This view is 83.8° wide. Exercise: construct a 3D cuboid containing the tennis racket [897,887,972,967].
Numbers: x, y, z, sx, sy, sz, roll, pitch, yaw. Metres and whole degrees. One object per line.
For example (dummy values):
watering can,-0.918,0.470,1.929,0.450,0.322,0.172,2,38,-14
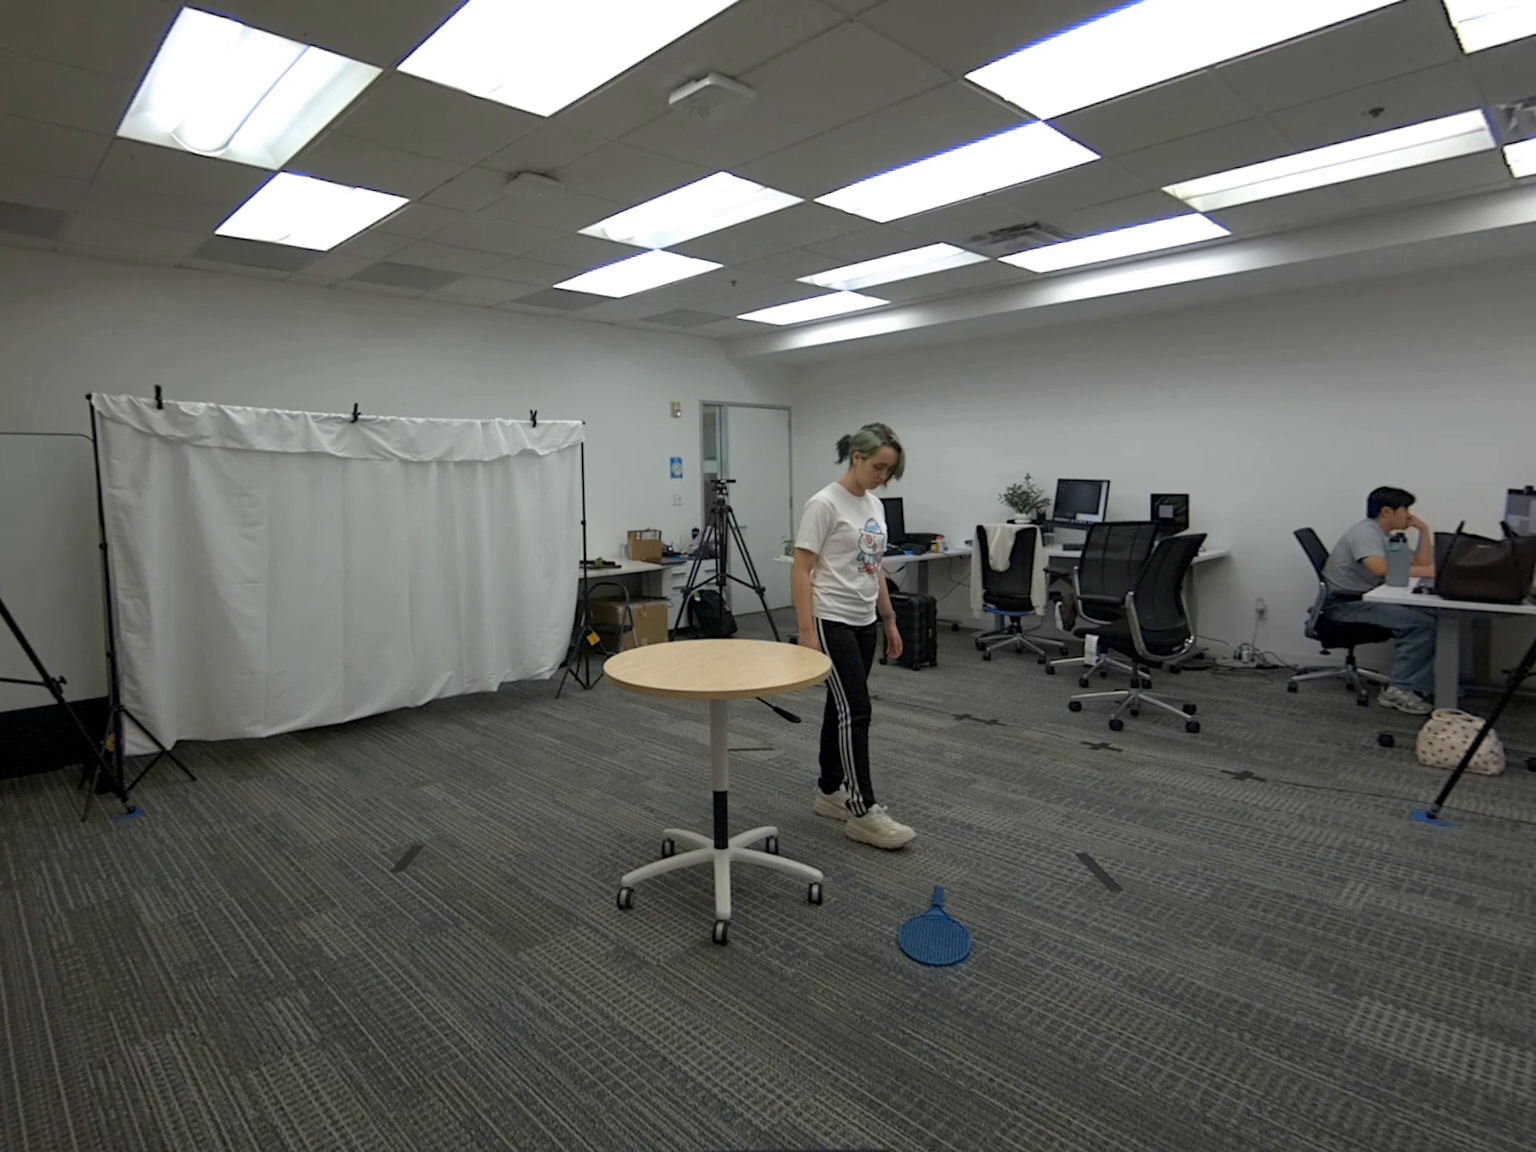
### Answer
tennis racket,0.517,1.078,2.639,0.217,0.031,0.429,0,8,14
